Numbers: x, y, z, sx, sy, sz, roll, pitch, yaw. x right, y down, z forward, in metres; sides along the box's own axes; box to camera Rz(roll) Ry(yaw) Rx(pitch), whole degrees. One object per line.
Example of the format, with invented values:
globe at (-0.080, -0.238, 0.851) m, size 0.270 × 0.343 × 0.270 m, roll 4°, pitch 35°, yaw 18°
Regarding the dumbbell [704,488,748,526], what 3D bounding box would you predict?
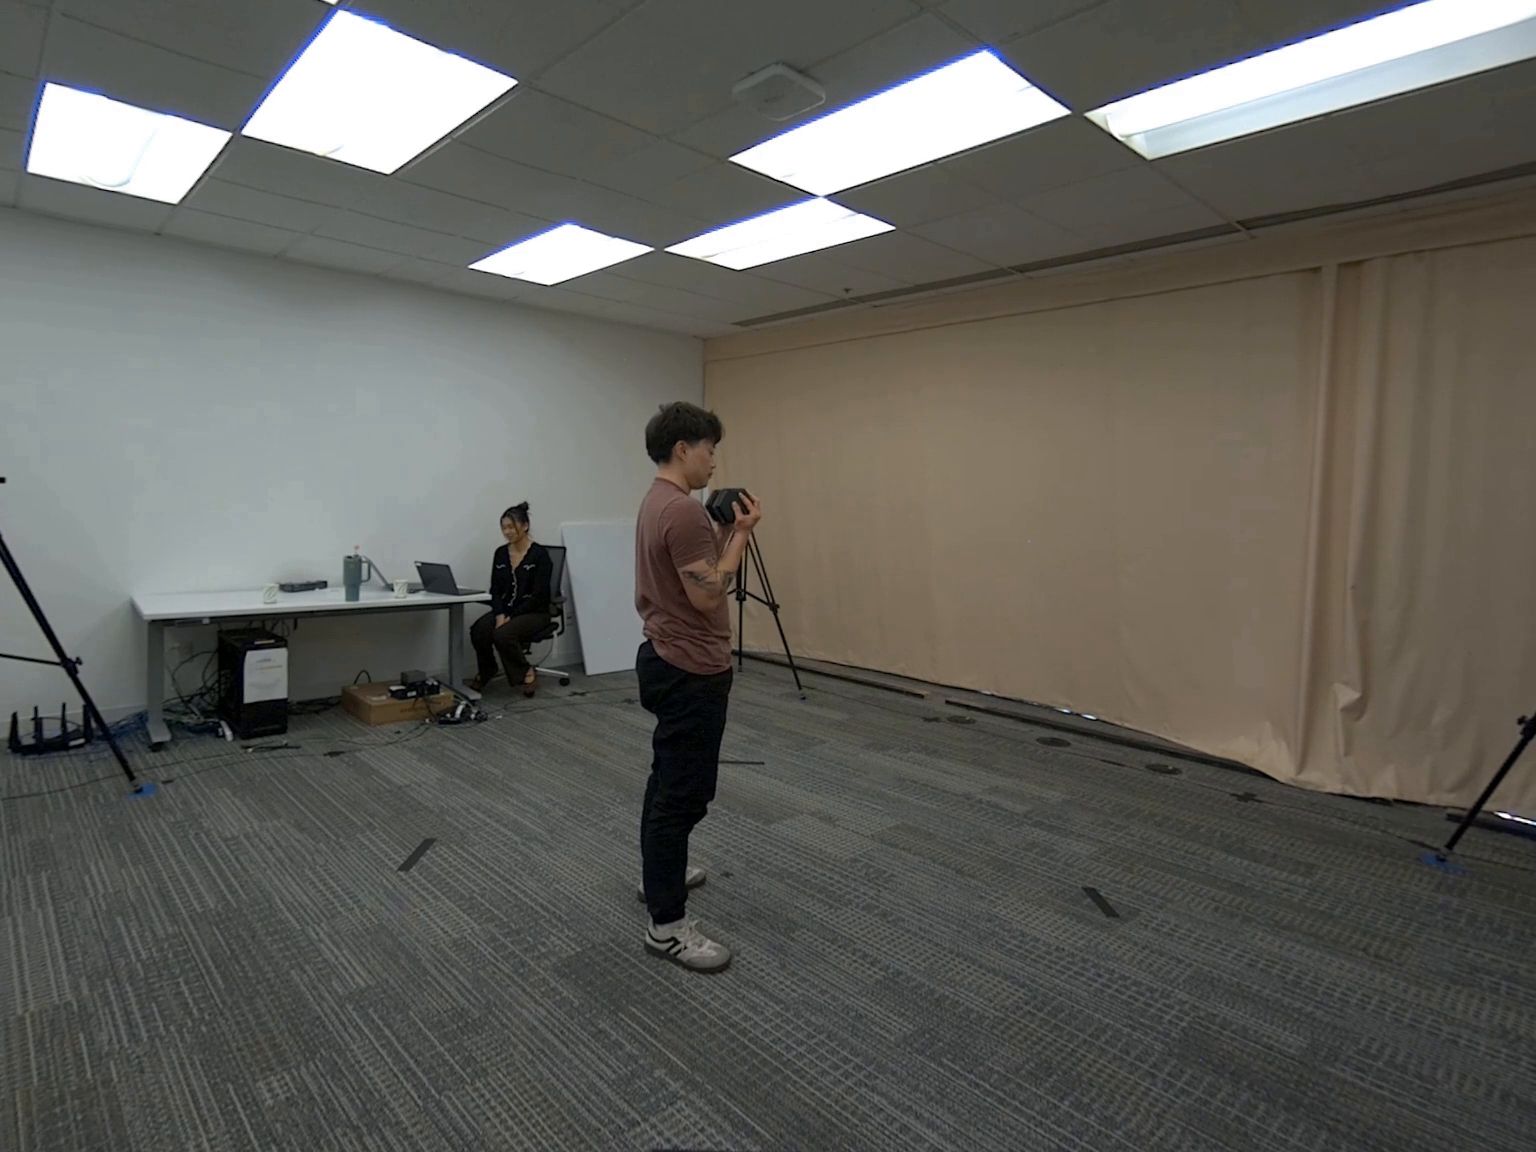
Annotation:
dumbbell at (-0.126, -0.219, 2.697) m, size 0.107 × 0.123 × 0.299 m, roll 37°, pitch 0°, yaw -18°
